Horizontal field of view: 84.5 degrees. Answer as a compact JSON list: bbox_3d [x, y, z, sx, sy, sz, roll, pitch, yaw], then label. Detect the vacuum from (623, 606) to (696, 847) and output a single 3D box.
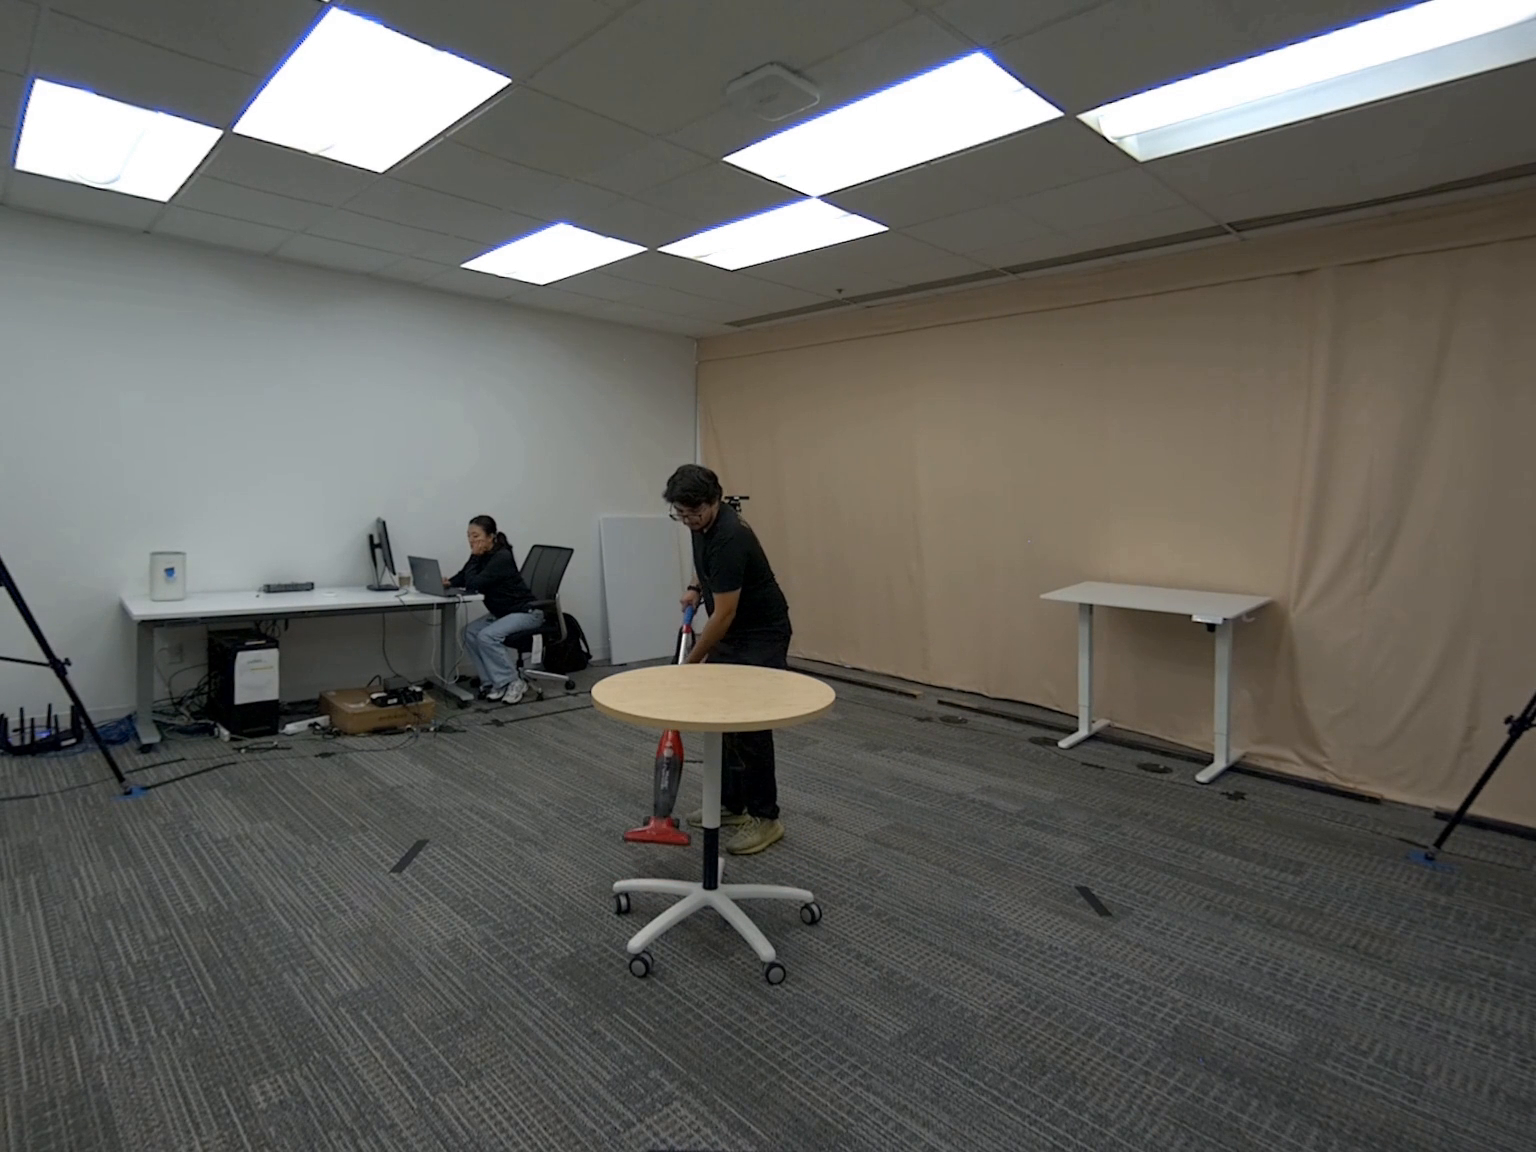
[{"bbox_3d":[-0.382,0.522,3.415,0.253,1.069,0.141,1,-34,4],"label":"vacuum"}]
